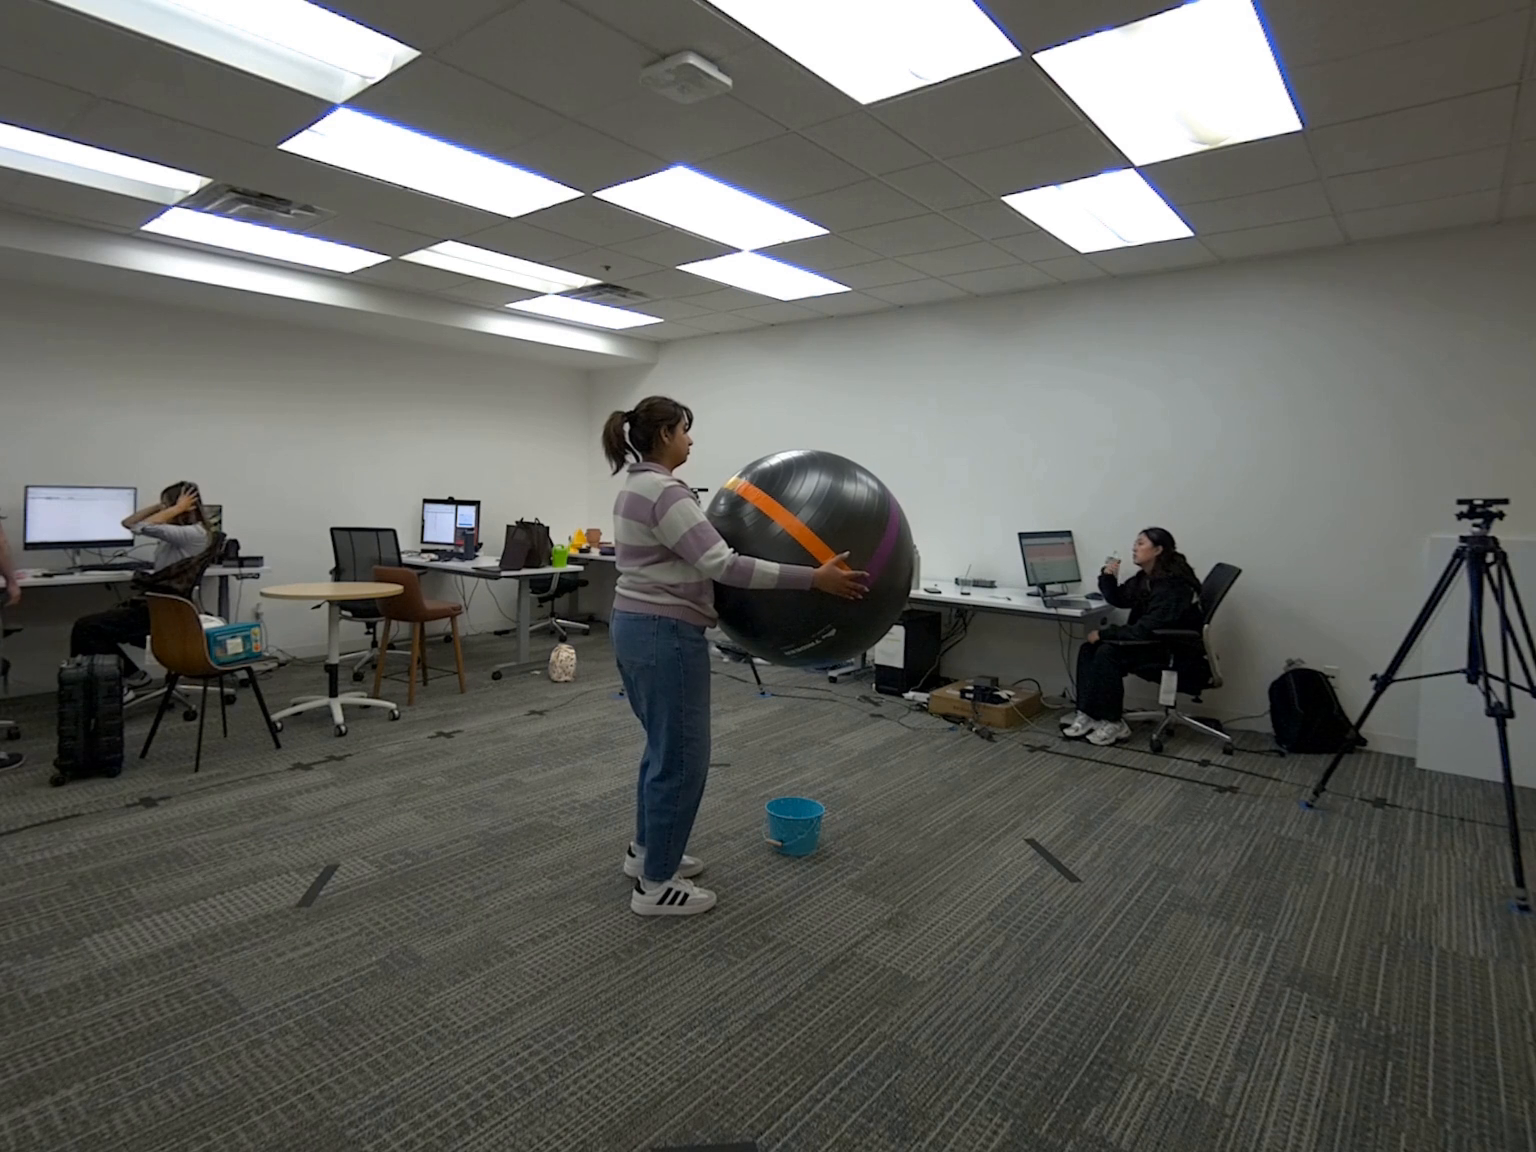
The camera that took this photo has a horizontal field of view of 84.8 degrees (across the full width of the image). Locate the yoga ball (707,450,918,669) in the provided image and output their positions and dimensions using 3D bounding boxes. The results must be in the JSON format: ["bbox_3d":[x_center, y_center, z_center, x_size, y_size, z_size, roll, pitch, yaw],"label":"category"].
[{"bbox_3d":[0.127,-0.059,2.970,0.757,0.756,0.762,1,4,-2],"label":"yoga ball"}]
